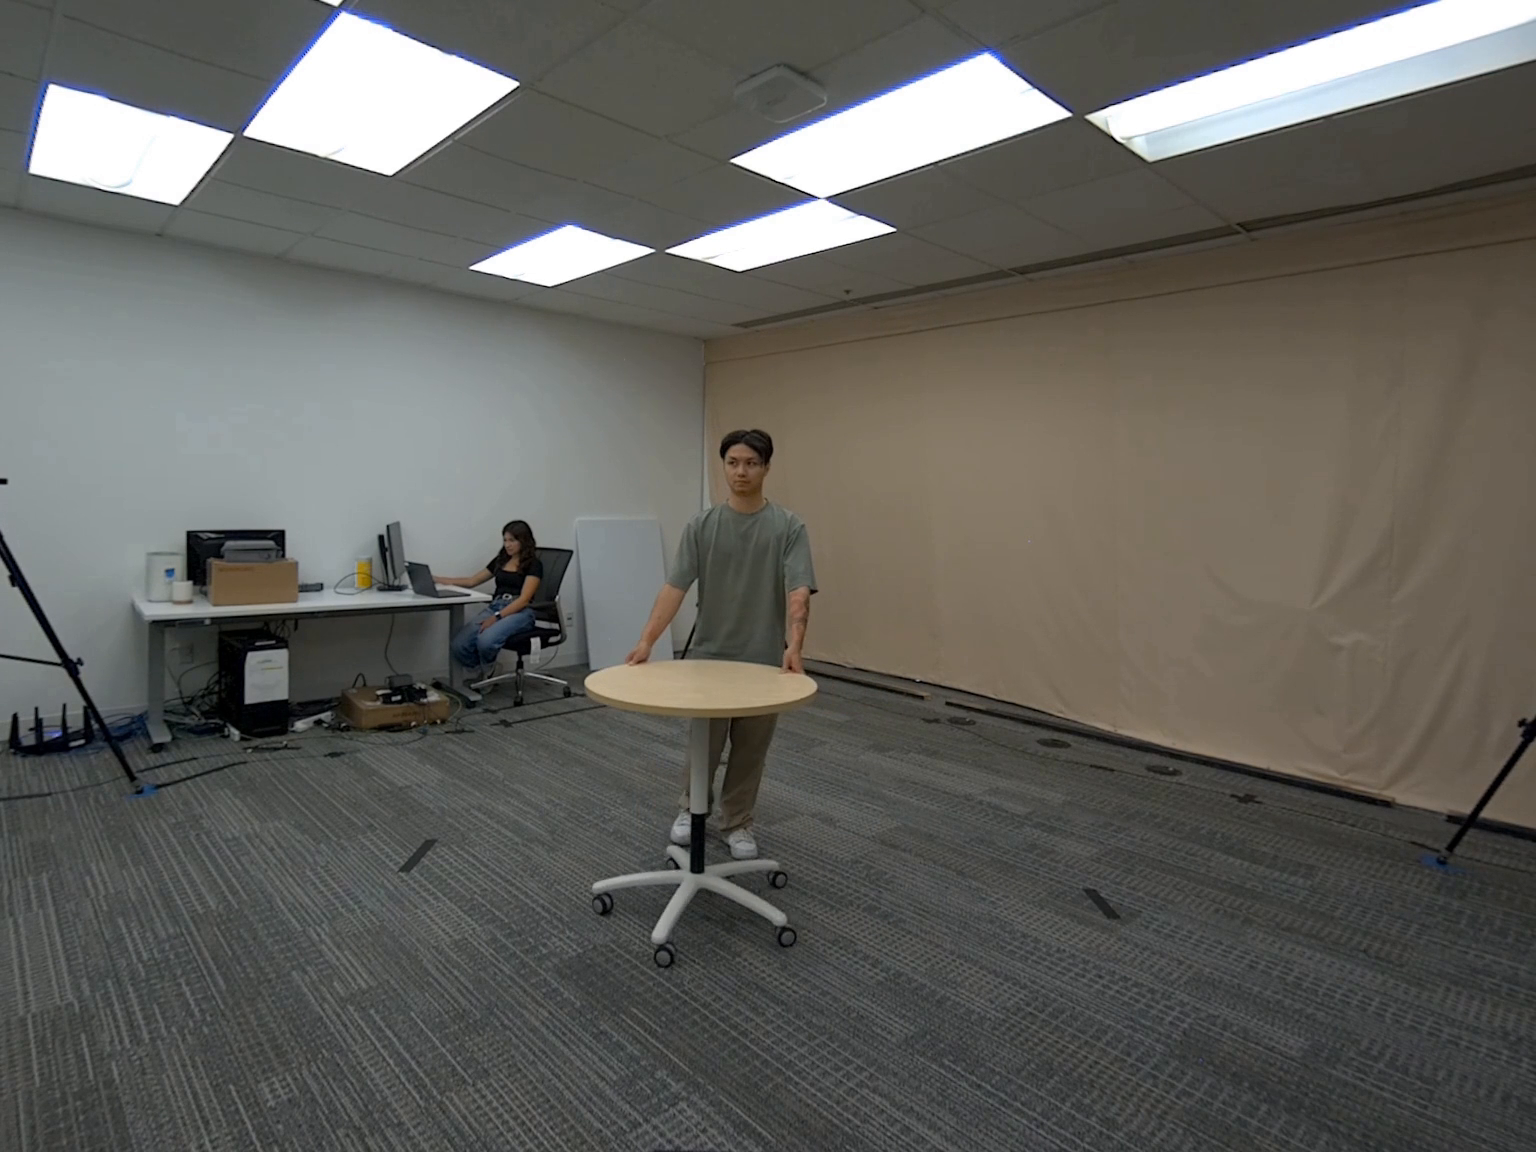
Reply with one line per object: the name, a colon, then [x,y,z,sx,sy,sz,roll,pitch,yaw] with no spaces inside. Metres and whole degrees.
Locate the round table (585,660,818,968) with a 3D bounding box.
round table: [-0.243,0.741,2.794,0.784,0.785,0.787,1,3,-1]
